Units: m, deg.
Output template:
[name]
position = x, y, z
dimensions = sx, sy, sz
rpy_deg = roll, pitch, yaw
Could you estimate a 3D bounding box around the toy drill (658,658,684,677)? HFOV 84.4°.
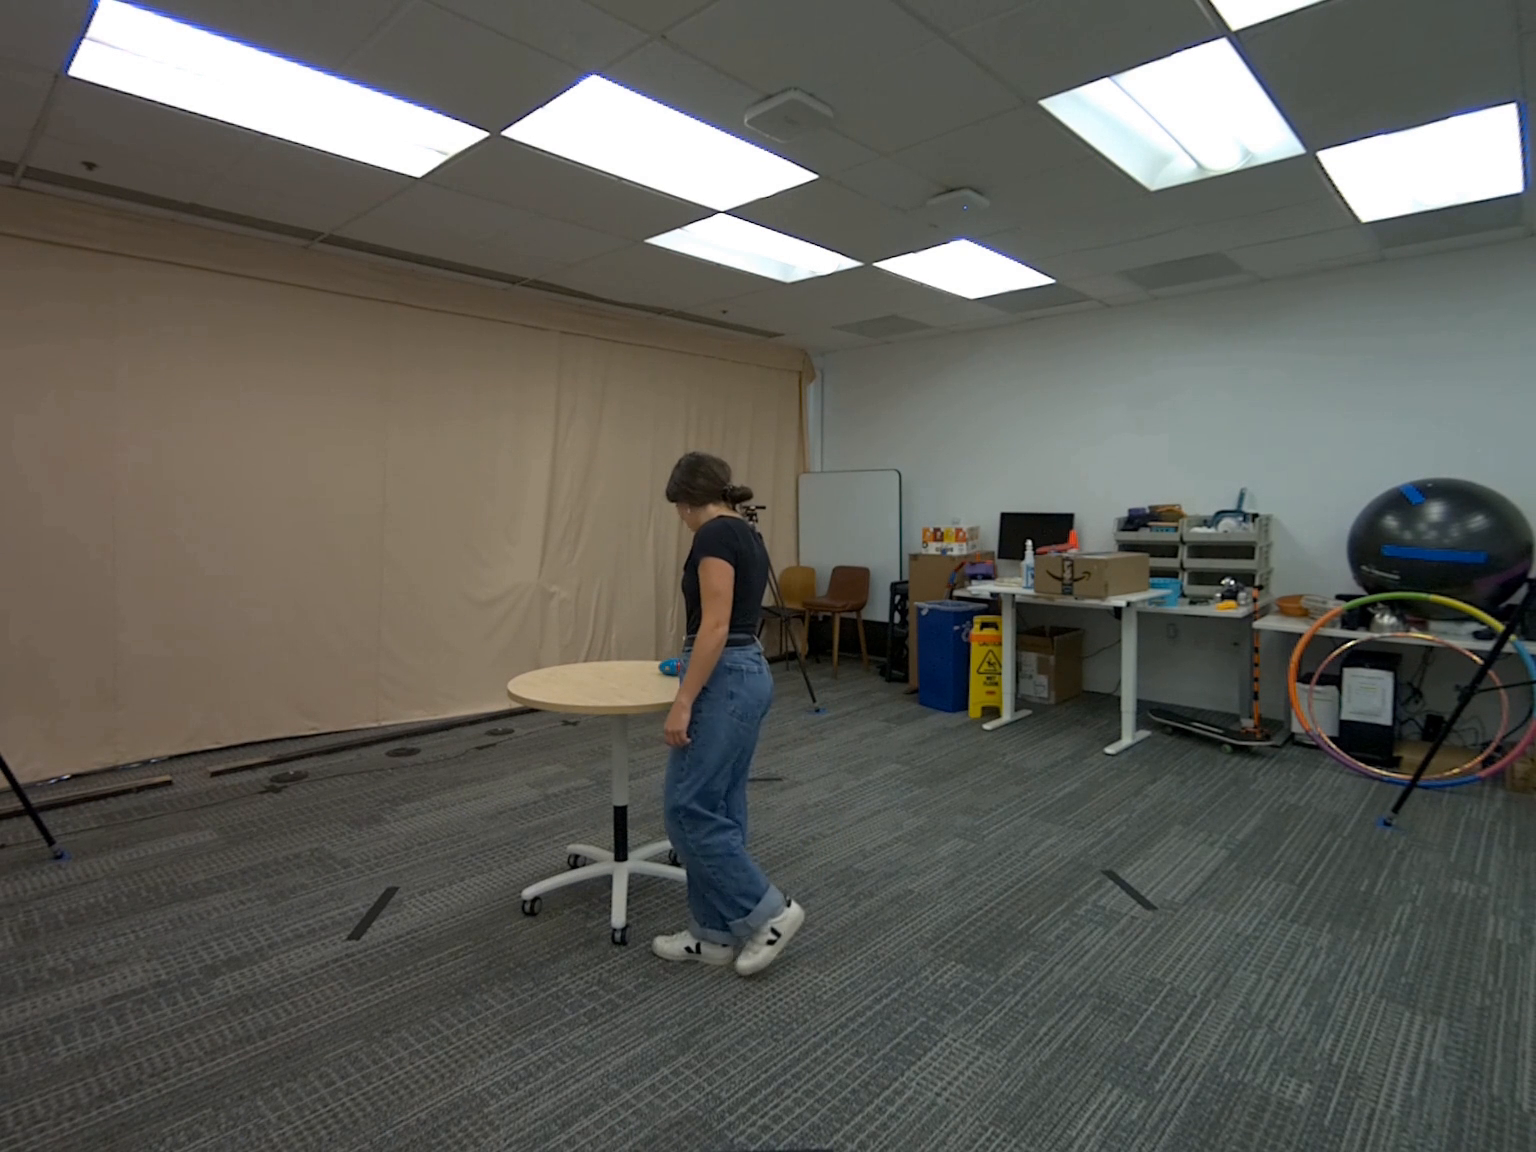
[toy drill]
position = -0.306, 0.328, 3.069
dimensions = 0.174, 0.061, 0.142
rpy_deg = -8, -3, 35
